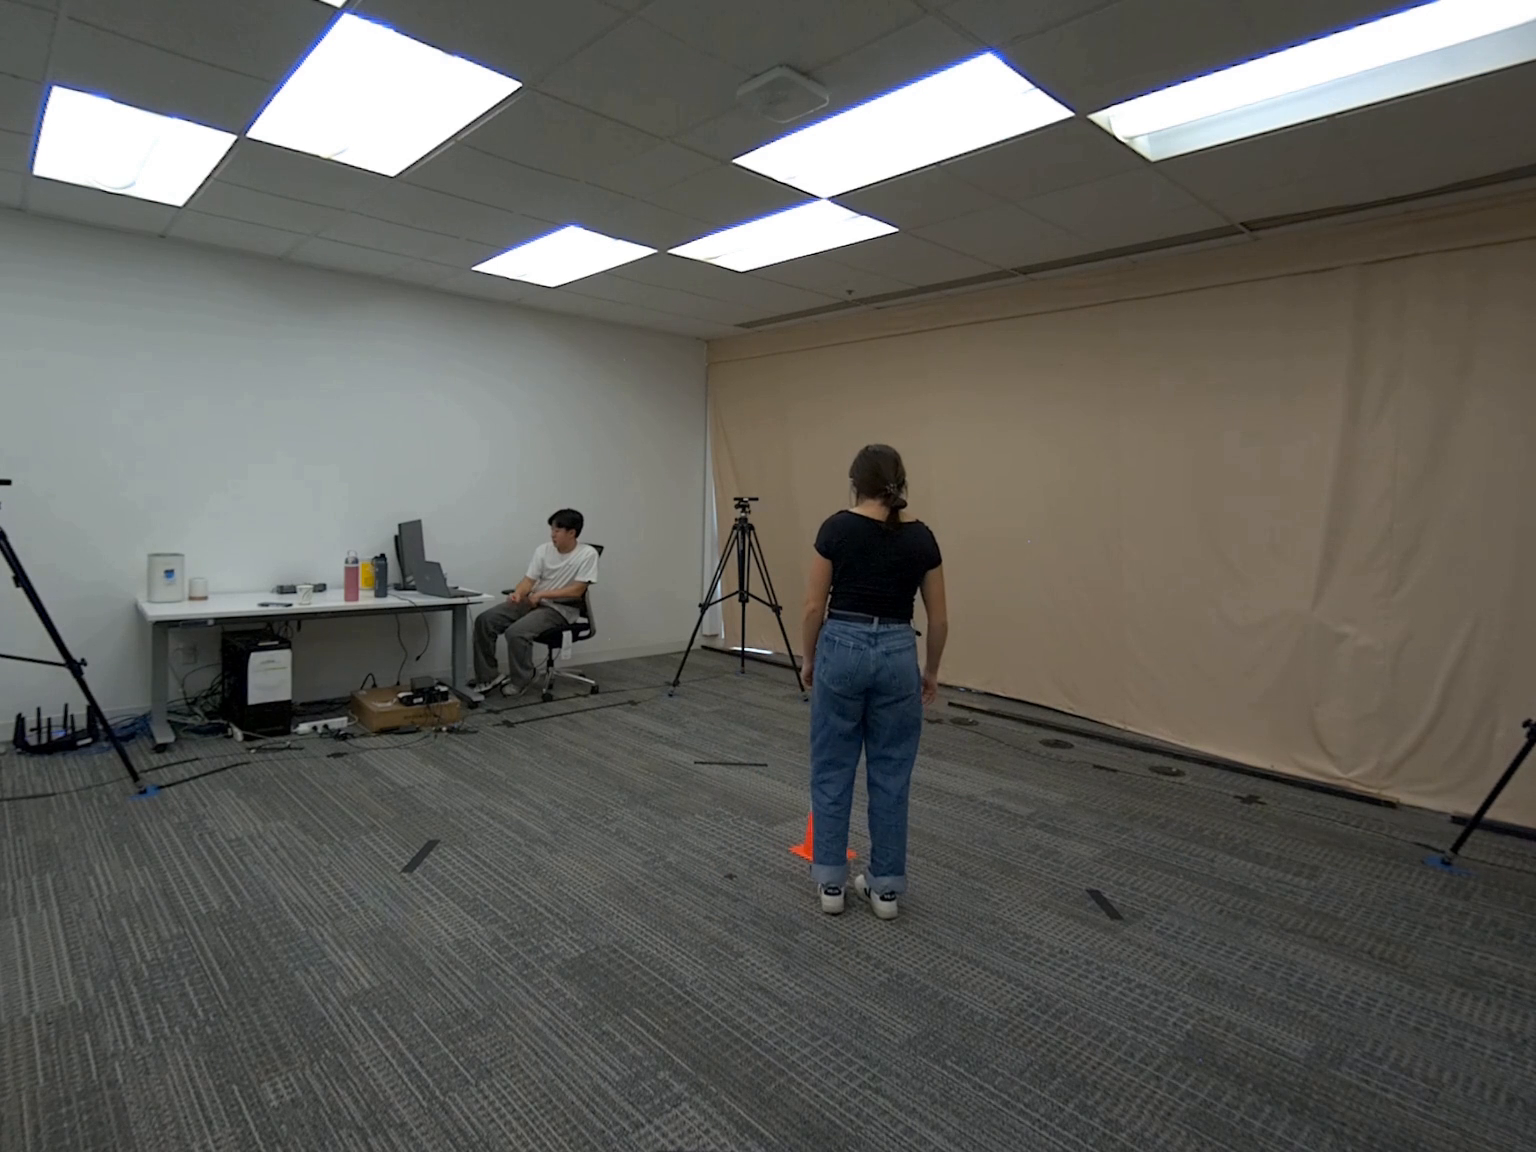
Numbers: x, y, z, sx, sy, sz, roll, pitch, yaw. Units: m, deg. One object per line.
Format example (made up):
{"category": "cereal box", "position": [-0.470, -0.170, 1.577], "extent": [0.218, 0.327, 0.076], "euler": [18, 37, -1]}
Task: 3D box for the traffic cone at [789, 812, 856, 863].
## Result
{"category": "traffic cone", "position": [0.211, 0.914, 3.327], "extent": [0.199, 0.383, 0.210], "euler": [-2, 5, -41]}
